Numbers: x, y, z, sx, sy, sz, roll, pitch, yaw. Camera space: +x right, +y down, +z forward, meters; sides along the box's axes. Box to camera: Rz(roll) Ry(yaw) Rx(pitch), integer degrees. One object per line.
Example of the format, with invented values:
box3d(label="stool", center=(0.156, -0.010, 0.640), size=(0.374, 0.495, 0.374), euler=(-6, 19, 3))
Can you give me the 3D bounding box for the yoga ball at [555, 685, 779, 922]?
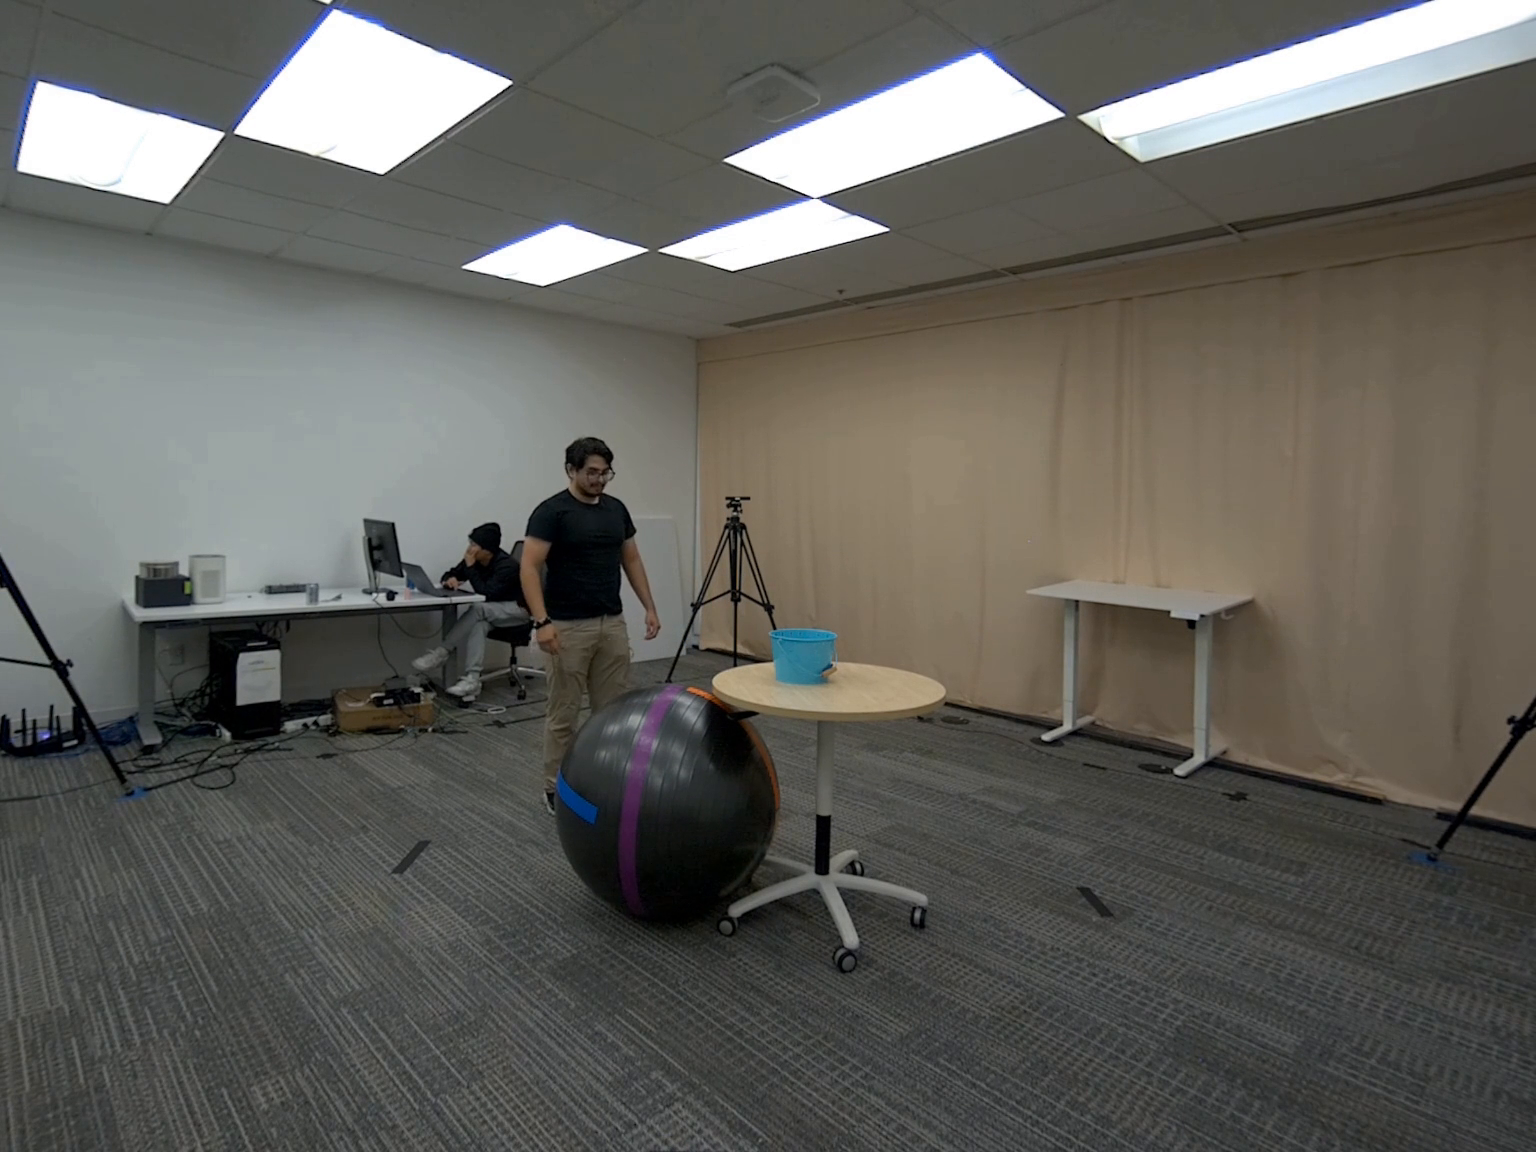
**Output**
box3d(label="yoga ball", center=(-0.348, 0.760, 2.861), size=(0.757, 0.756, 0.761), euler=(1, 4, -1))
